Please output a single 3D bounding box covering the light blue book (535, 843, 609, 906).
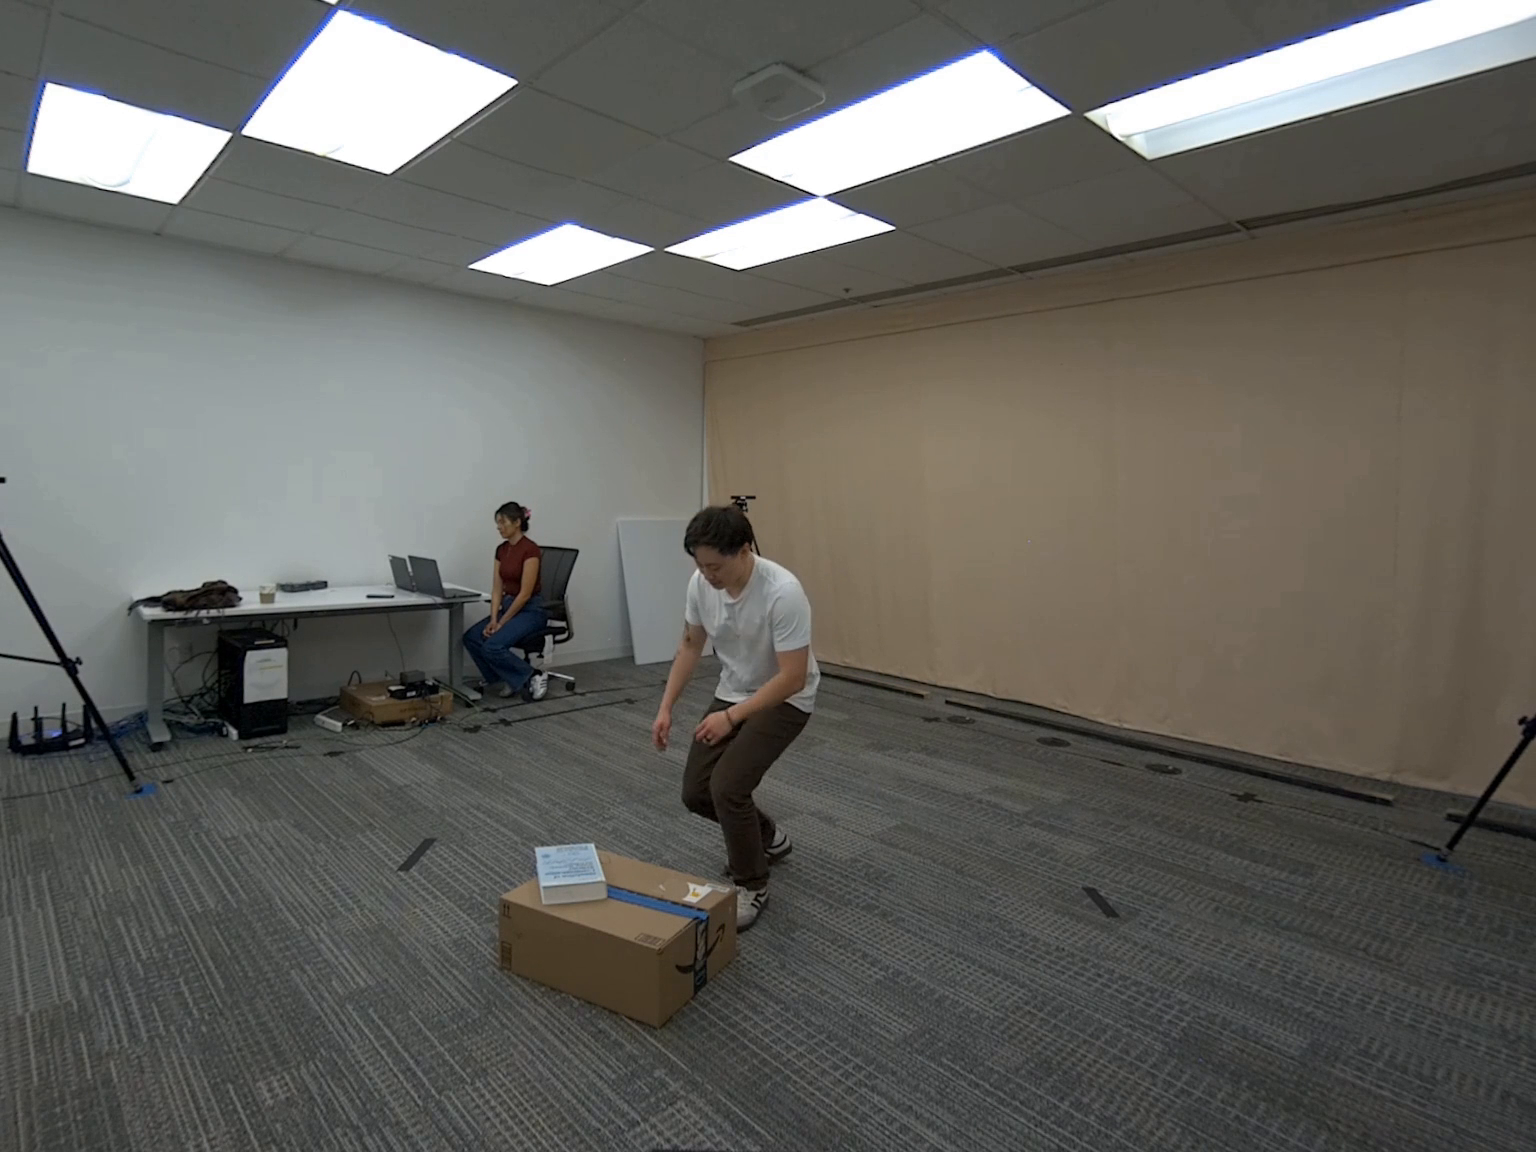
[{"bbox_3d":[-0.610,0.906,2.551,0.189,0.059,0.266,0,6,-19],"label":"light blue book"}]
